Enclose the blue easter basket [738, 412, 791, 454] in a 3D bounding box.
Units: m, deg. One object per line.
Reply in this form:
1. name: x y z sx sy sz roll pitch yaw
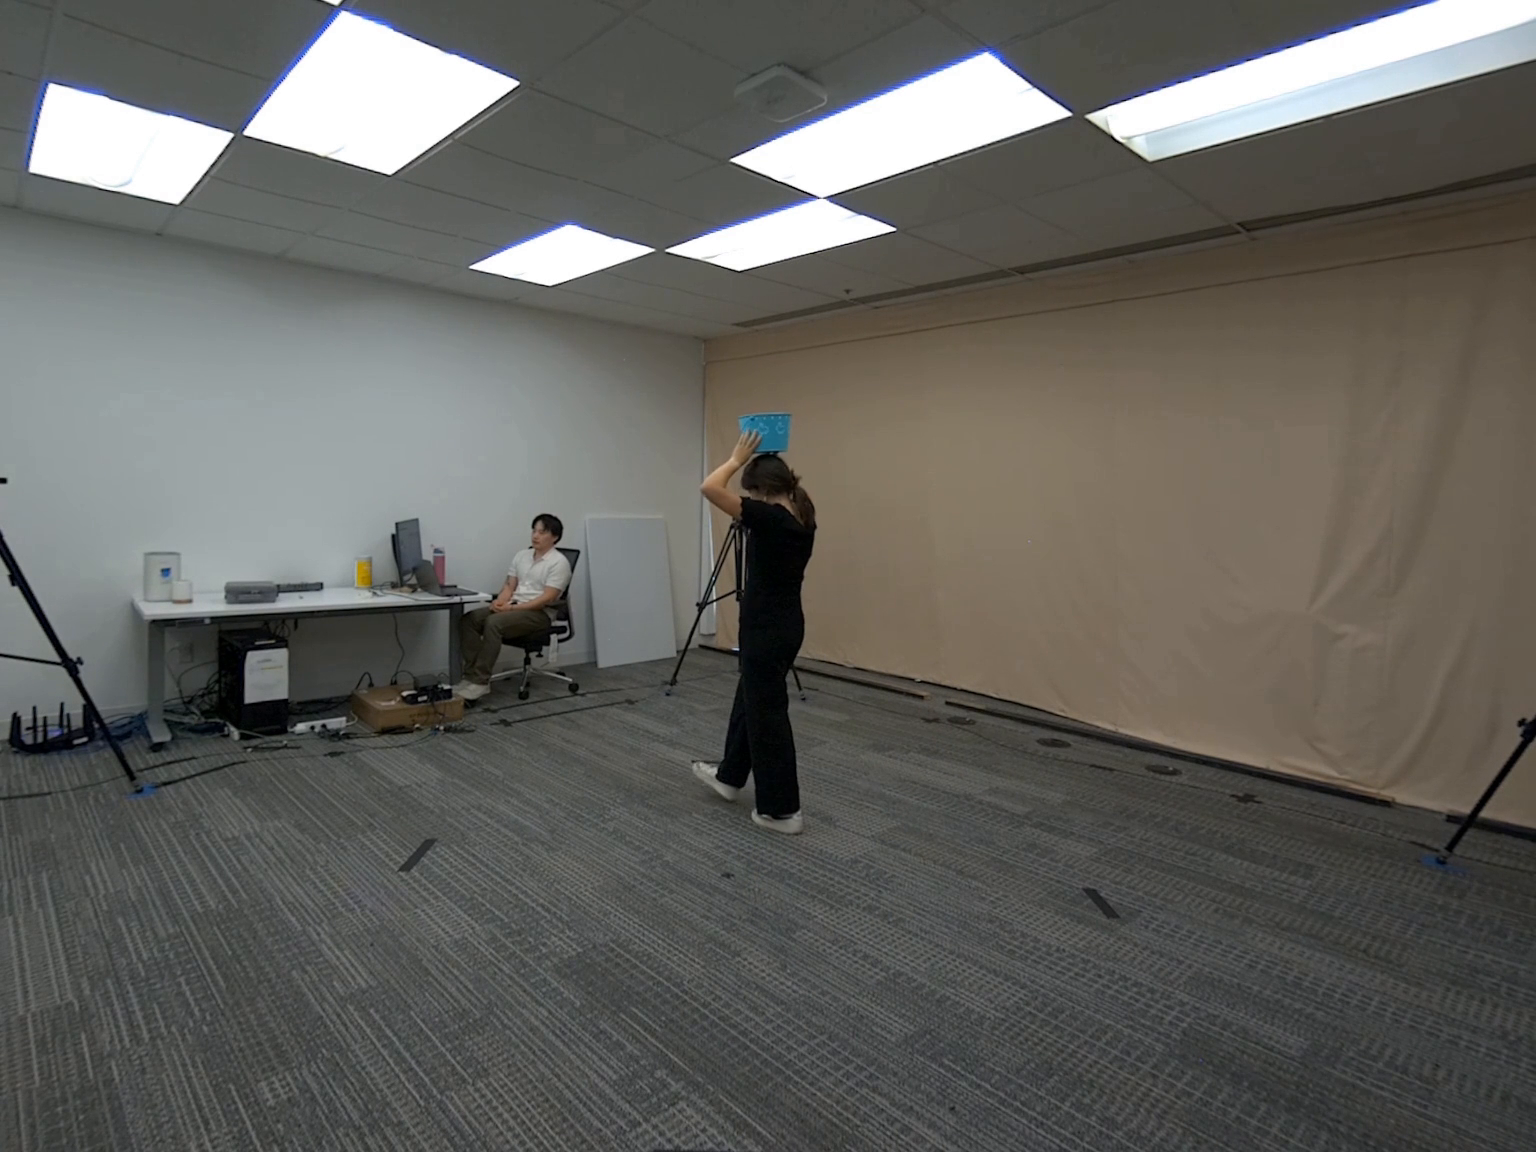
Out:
1. blue easter basket: -0.013 -0.601 3.576 0.243 0.155 0.245 -1 6 -1
